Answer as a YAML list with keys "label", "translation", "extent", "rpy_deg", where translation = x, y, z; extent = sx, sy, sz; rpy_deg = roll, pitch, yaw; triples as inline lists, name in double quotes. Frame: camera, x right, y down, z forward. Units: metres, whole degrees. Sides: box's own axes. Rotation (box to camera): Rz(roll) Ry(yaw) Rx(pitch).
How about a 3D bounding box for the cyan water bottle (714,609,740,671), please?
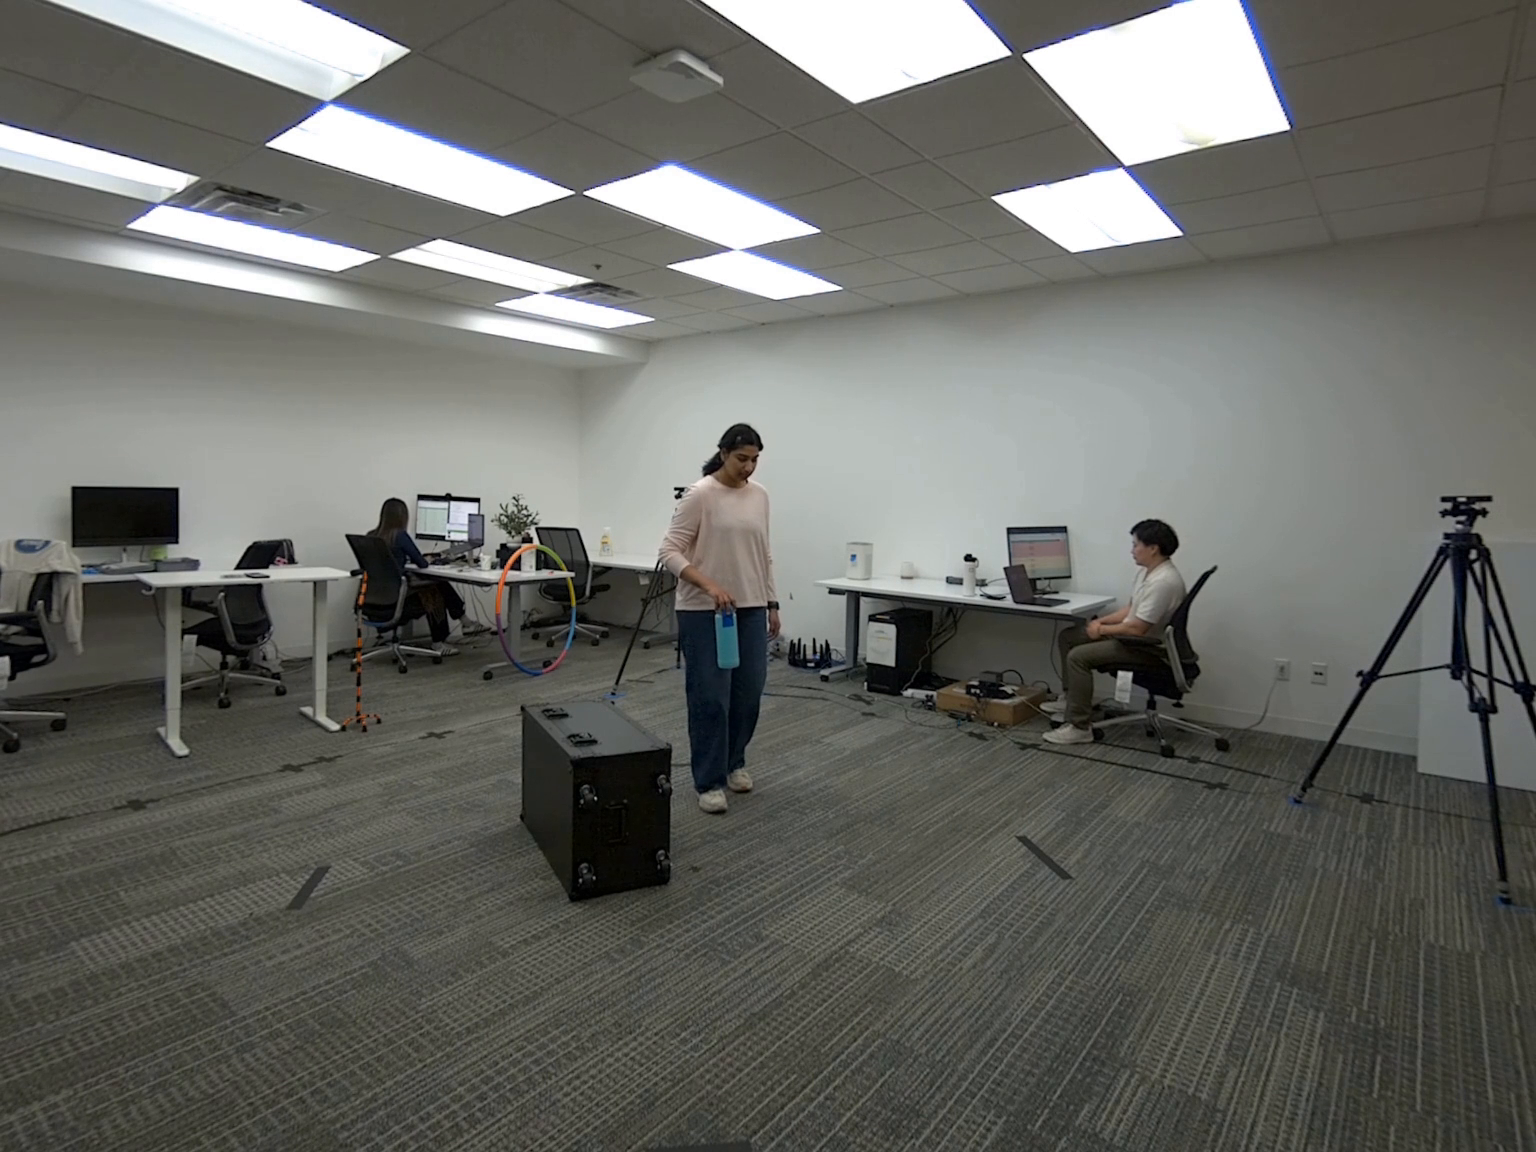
- label: "cyan water bottle"
  translation: [-0.181, 0.235, 3.578]
  extent: [0.092, 0.282, 0.093]
  rpy_deg: [-2, 5, -2]
